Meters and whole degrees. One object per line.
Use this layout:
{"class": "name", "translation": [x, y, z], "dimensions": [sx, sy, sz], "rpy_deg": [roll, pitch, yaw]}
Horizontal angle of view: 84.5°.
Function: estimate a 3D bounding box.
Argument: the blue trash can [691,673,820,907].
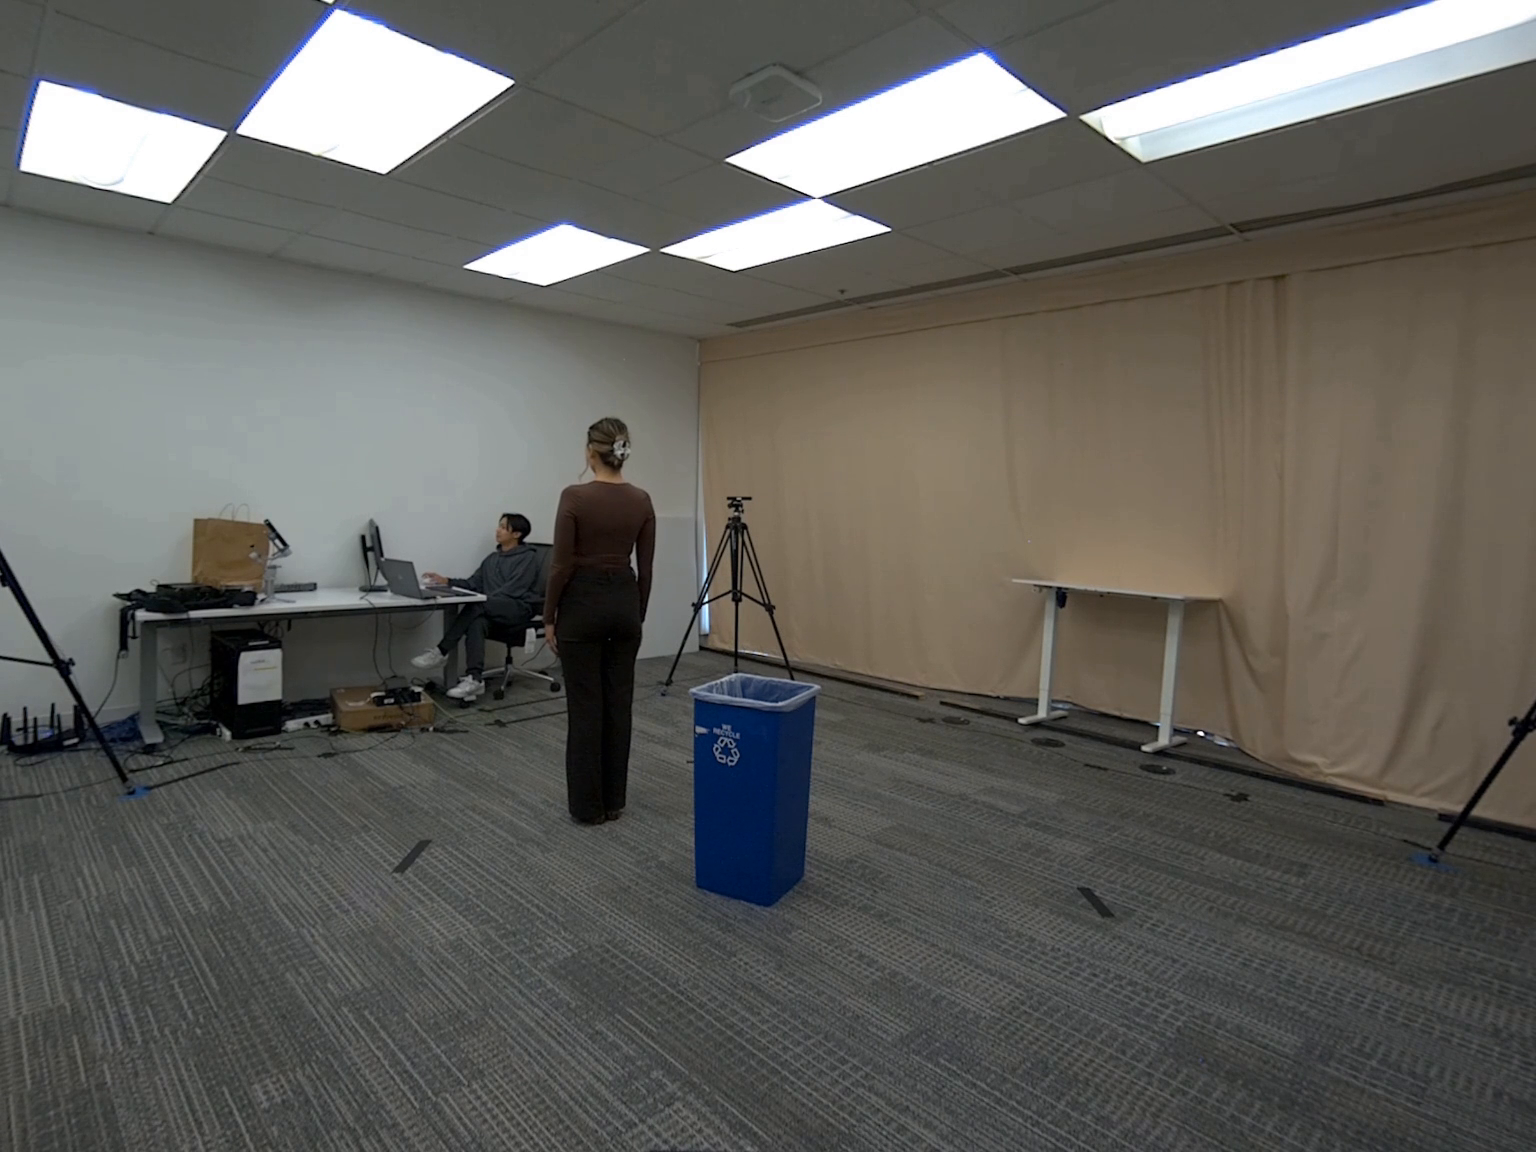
{"class": "blue trash can", "translation": [-0.054, 0.754, 3.043], "dimensions": [0.382, 0.712, 0.371], "rpy_deg": [3, 4, 28]}
